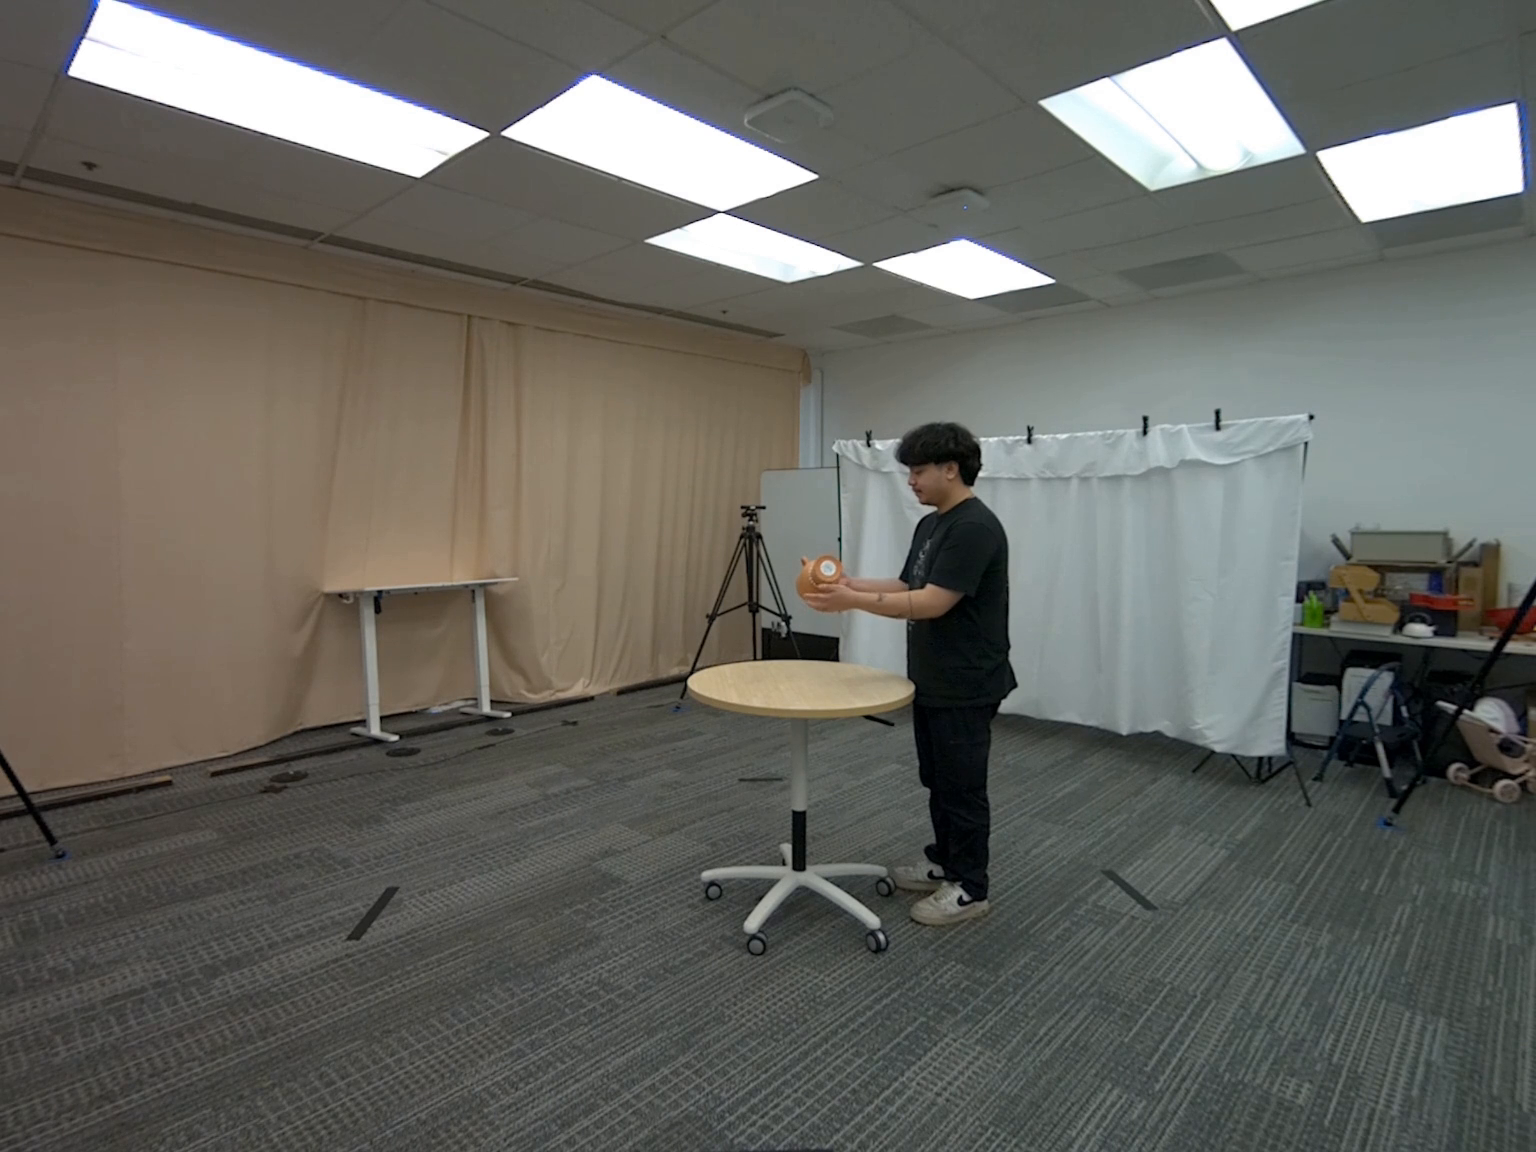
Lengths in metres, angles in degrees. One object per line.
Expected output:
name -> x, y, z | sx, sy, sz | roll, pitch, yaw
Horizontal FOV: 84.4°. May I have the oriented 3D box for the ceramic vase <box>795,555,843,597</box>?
ceramic vase -> 0.186, 0.003, 2.871 | 0.159, 0.135, 0.219 | 20, -19, -2
